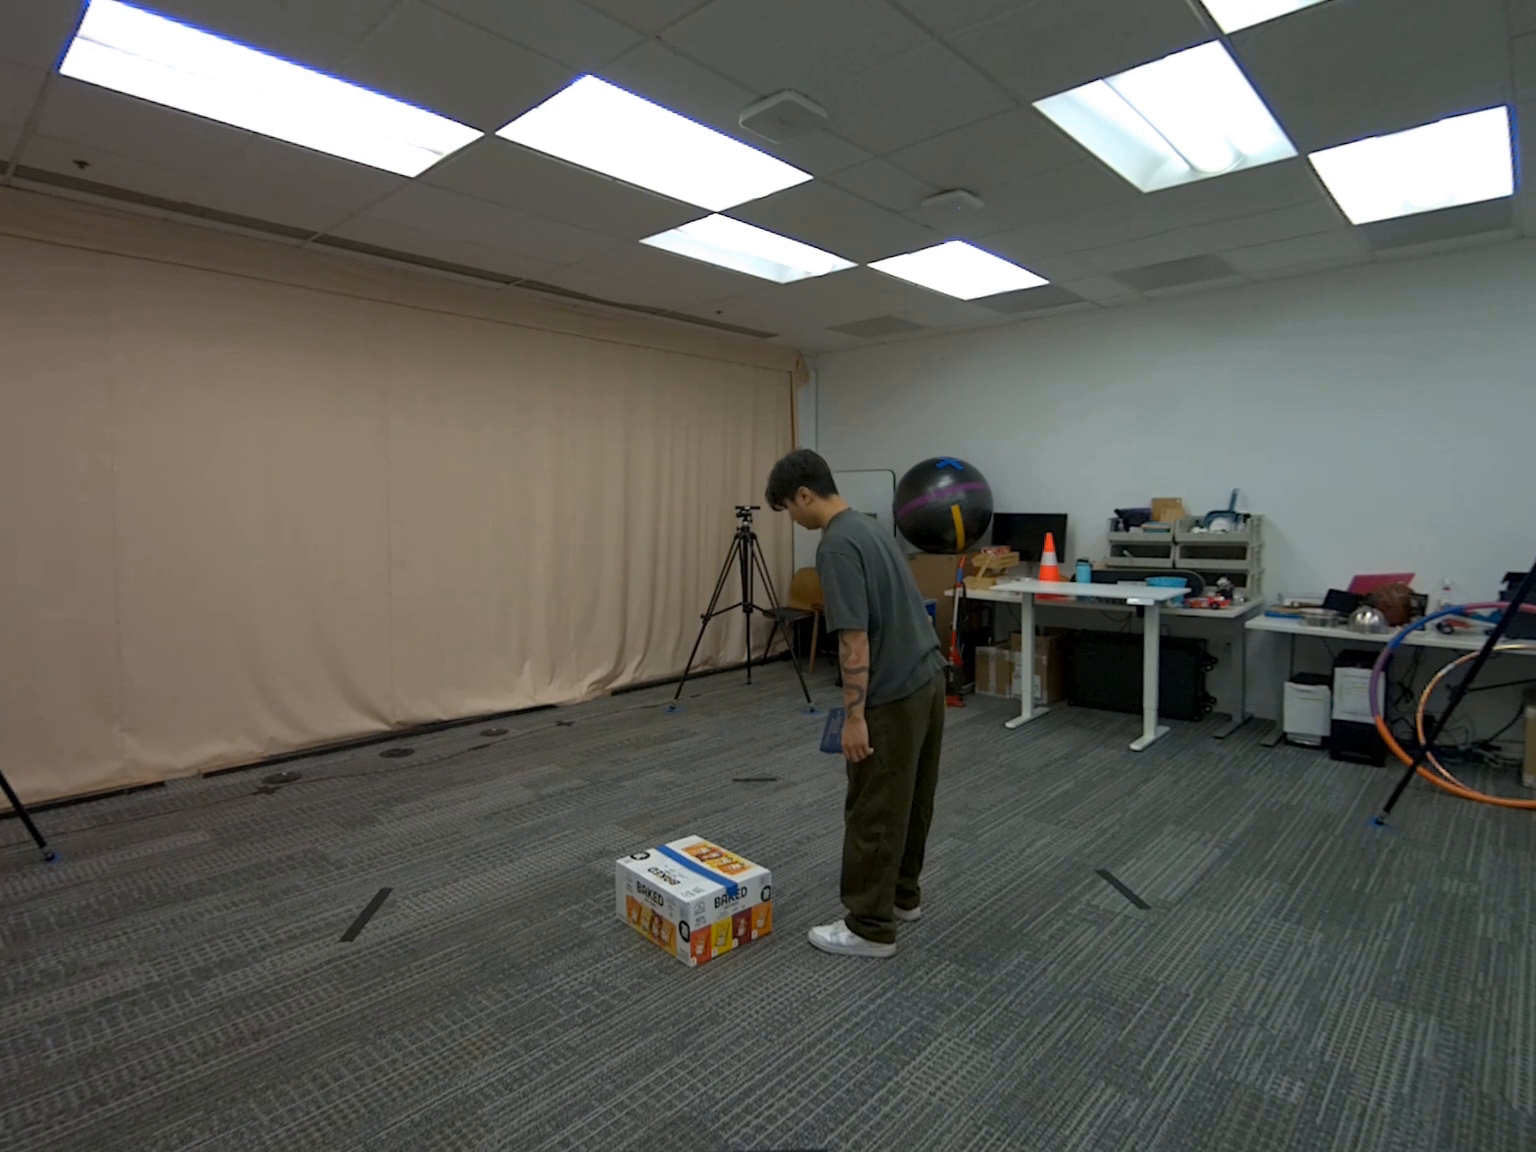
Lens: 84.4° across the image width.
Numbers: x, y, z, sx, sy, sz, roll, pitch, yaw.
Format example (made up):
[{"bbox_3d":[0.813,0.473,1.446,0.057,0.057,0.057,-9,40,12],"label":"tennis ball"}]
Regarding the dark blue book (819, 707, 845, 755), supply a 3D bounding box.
[{"bbox_3d":[0.296,0.557,3.011,0.044,0.164,0.250,26,-20,-22],"label":"dark blue book"}]
